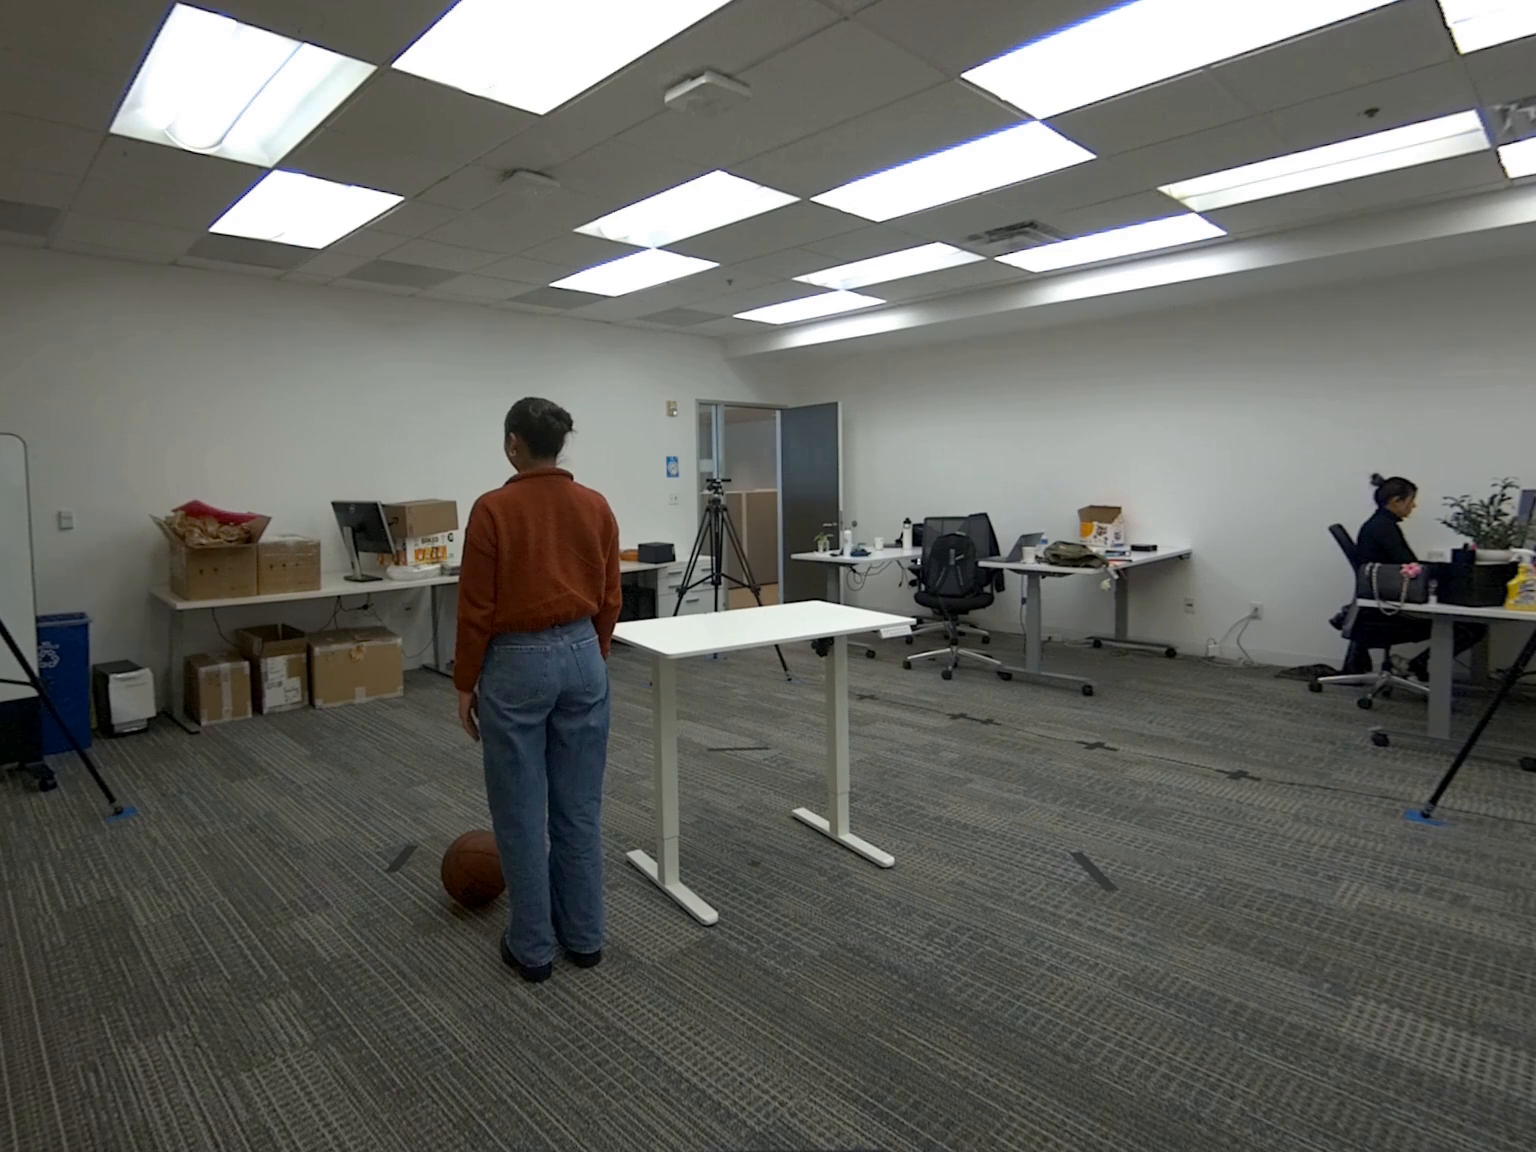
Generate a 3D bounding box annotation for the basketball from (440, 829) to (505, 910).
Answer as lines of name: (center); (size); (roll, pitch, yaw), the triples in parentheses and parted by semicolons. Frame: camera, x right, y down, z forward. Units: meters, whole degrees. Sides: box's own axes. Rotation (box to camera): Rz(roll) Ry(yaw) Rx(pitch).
basketball: (-0.965, 0.968, 2.860); (0.236, 0.235, 0.237); (-1, 5, -2)
